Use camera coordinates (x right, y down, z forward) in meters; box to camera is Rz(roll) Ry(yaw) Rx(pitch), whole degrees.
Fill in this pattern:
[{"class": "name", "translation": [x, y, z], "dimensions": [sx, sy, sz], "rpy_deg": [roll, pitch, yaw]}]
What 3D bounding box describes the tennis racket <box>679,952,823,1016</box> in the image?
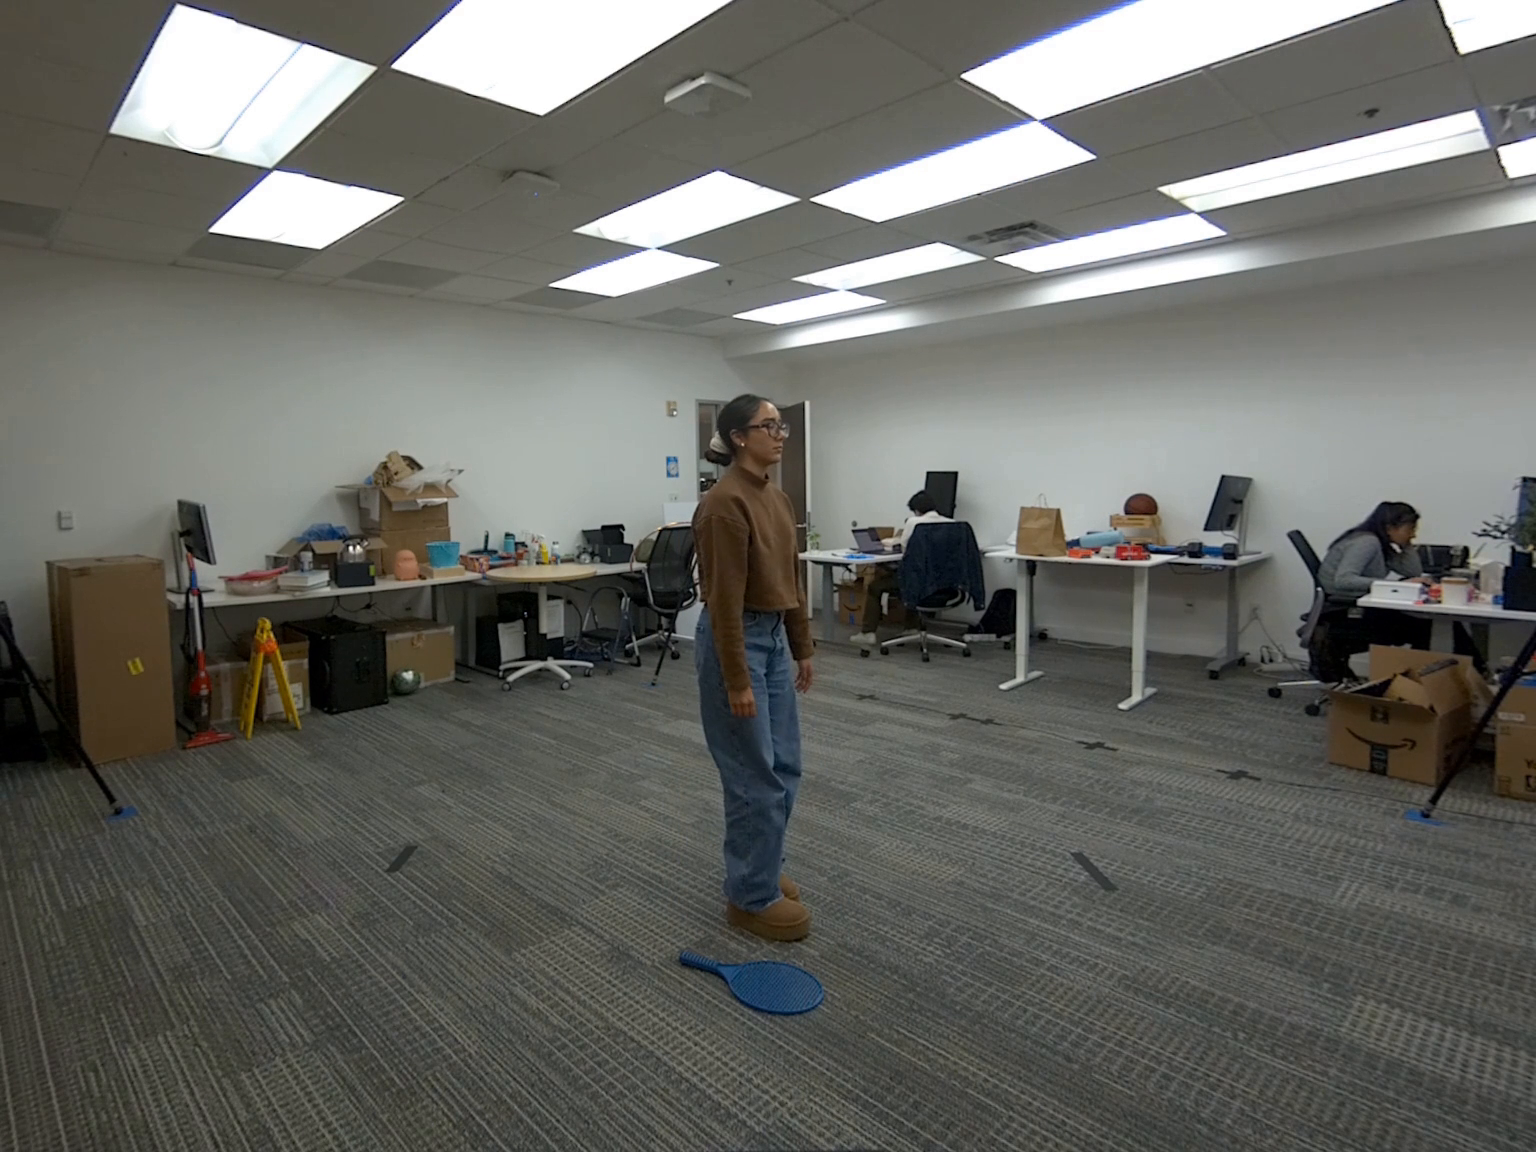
[{"class": "tennis racket", "translation": [-0.053, 1.121, 2.378], "dimensions": [0.443, 0.031, 0.210], "rpy_deg": [3, 8, 26]}]
